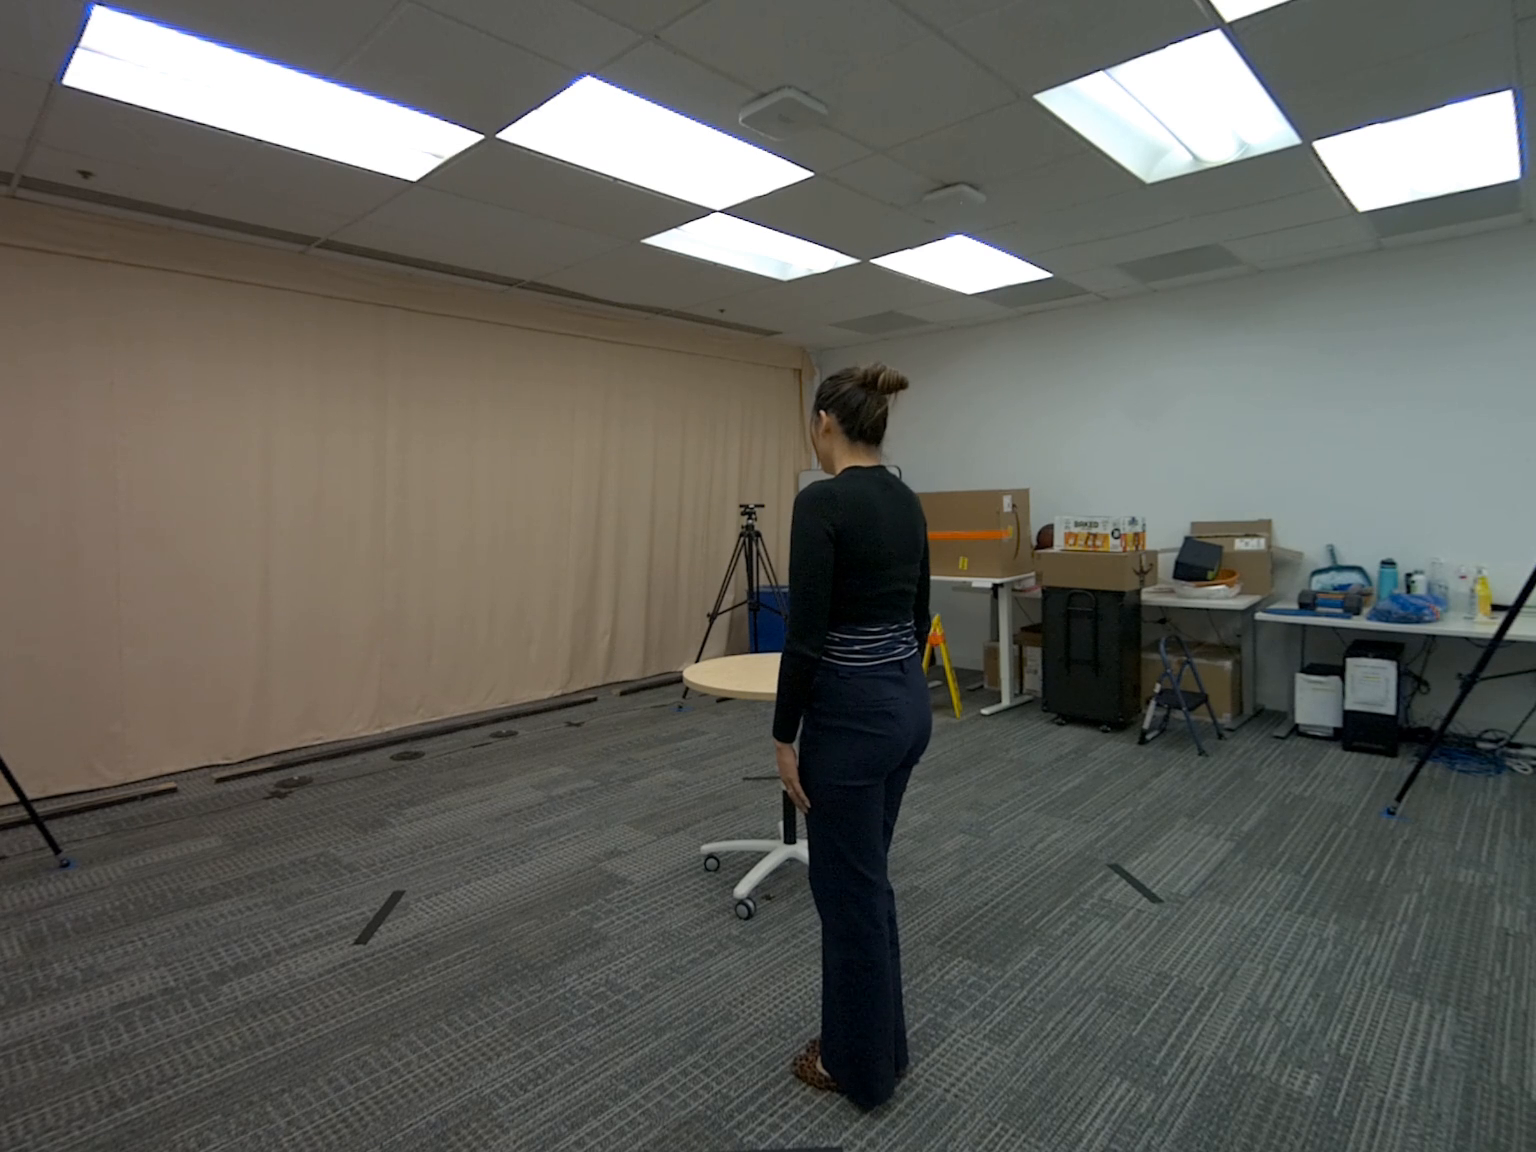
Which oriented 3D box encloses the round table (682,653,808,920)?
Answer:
[{"bbox_3d":[0.081,0.740,3.095,0.763,0.792,0.766,-1,3,-2],"label":"round table"}]
